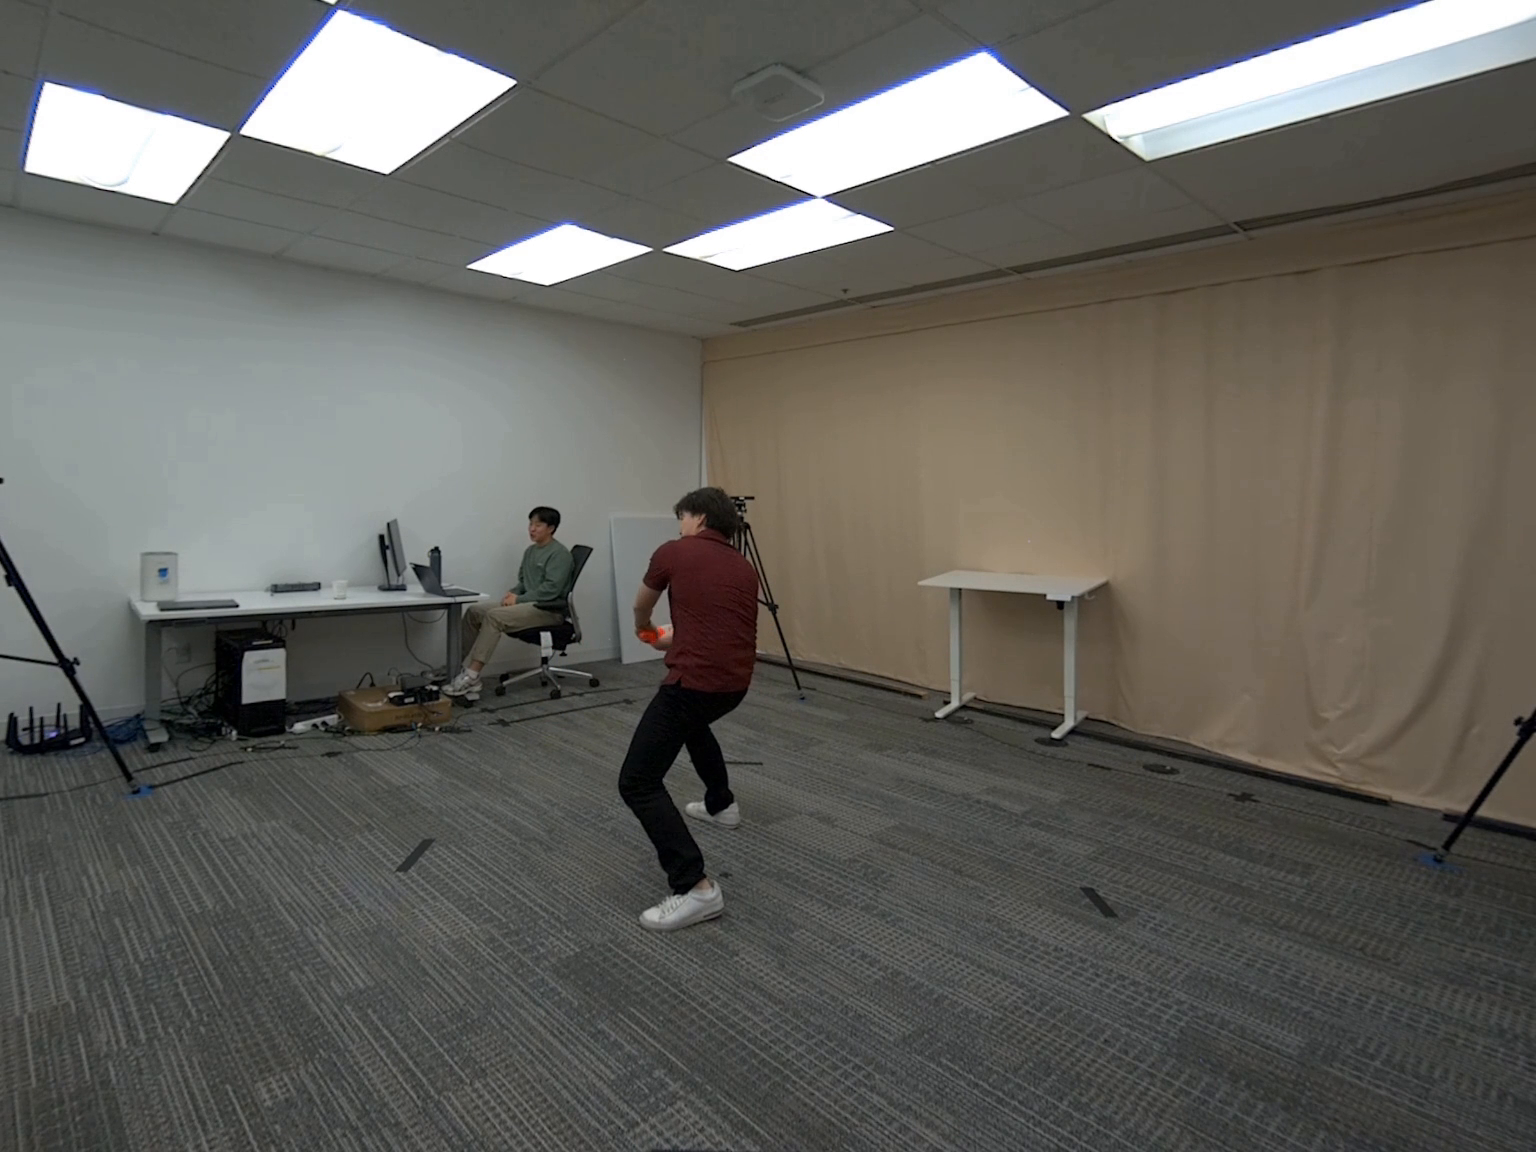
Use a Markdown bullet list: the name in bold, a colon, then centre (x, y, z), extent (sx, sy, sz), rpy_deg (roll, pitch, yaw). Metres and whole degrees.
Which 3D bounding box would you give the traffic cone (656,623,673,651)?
- **traffic cone**: centre (-0.450, 0.264, 3.714), extent (0.208, 0.204, 0.375), rpy_deg (23, 6, 27)
